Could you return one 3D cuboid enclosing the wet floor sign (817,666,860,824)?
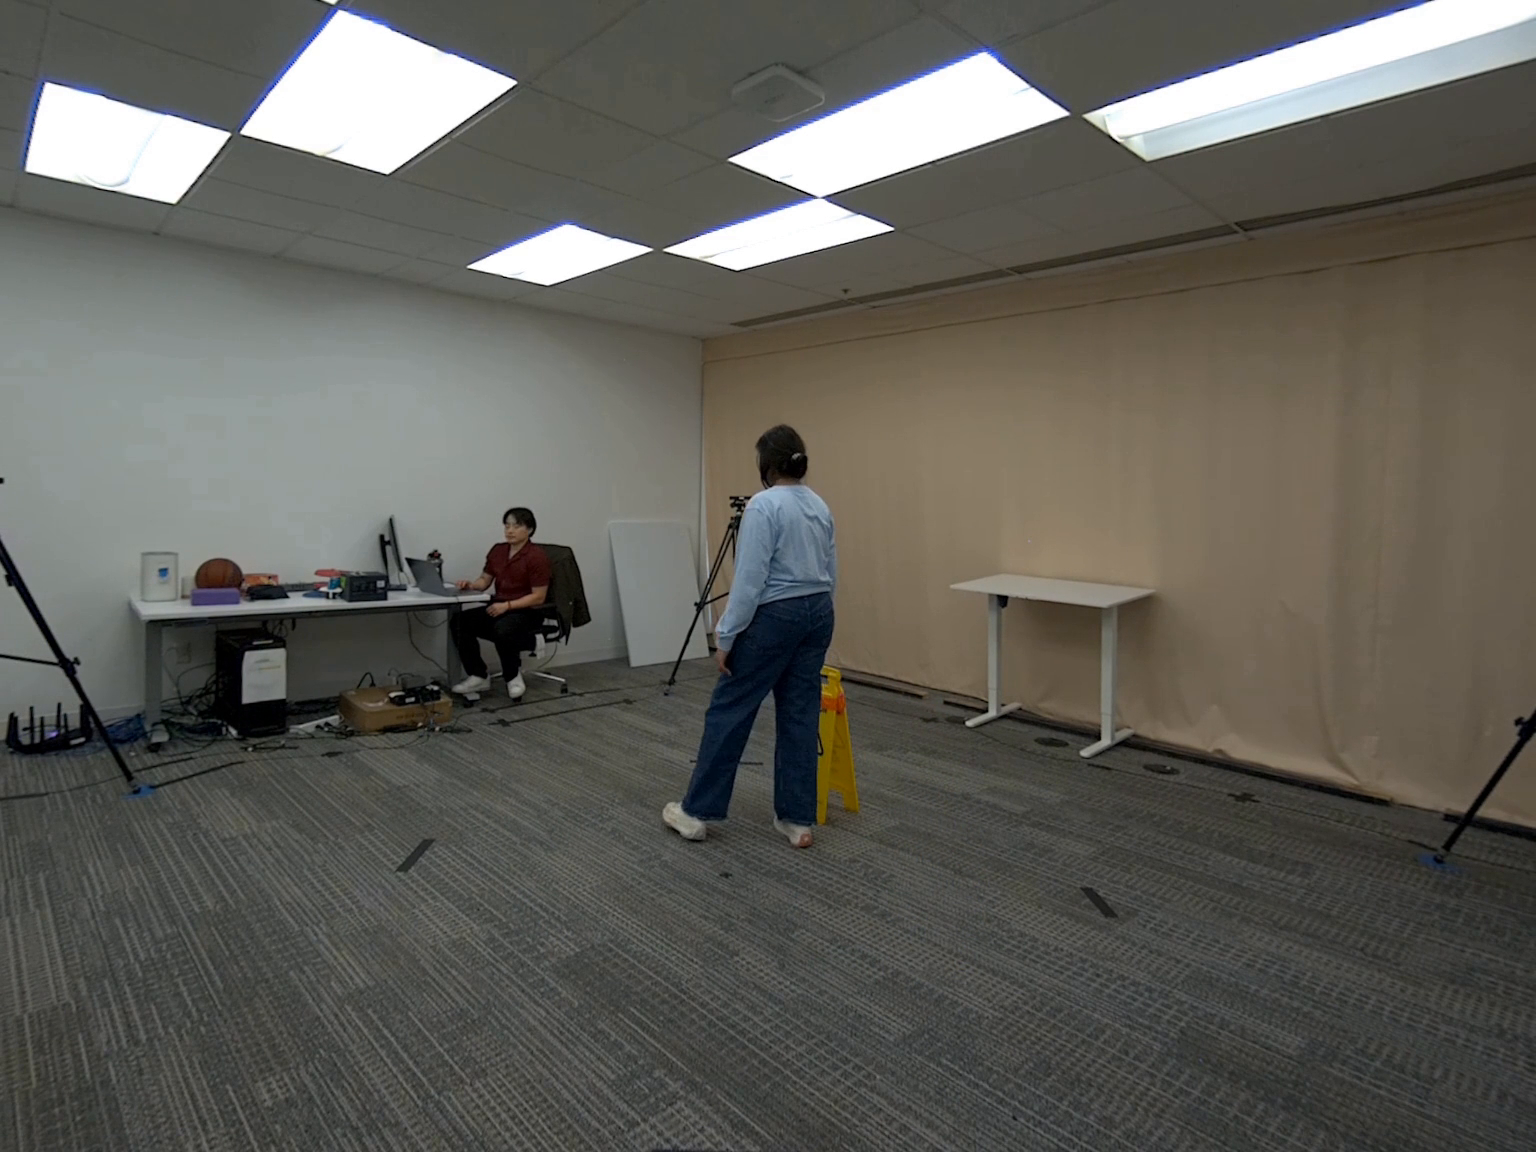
[{"bbox_3d":[0.223,0.731,3.783,0.283,0.645,0.289,0,4,-44],"label":"wet floor sign"}]
